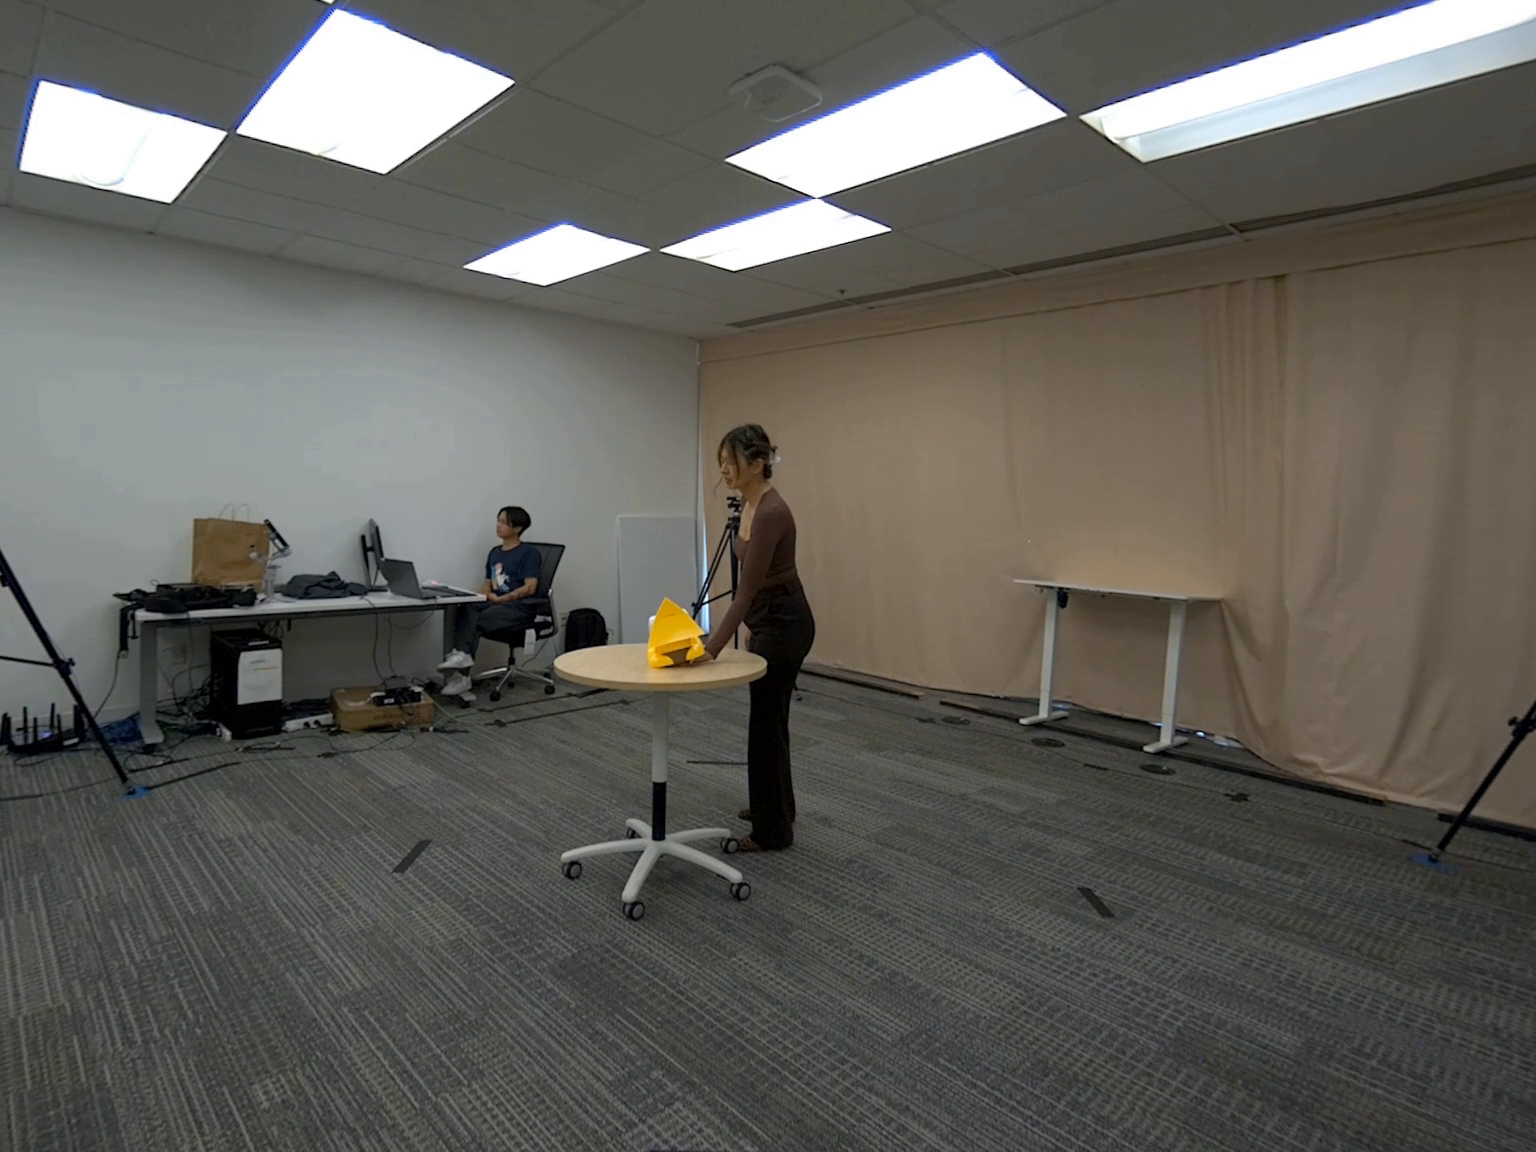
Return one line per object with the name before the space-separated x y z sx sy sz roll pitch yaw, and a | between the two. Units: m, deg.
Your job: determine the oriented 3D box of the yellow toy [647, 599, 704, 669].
yellow toy | -0.355 0.181 2.956 0.203 0.229 0.196 -14 10 -14
